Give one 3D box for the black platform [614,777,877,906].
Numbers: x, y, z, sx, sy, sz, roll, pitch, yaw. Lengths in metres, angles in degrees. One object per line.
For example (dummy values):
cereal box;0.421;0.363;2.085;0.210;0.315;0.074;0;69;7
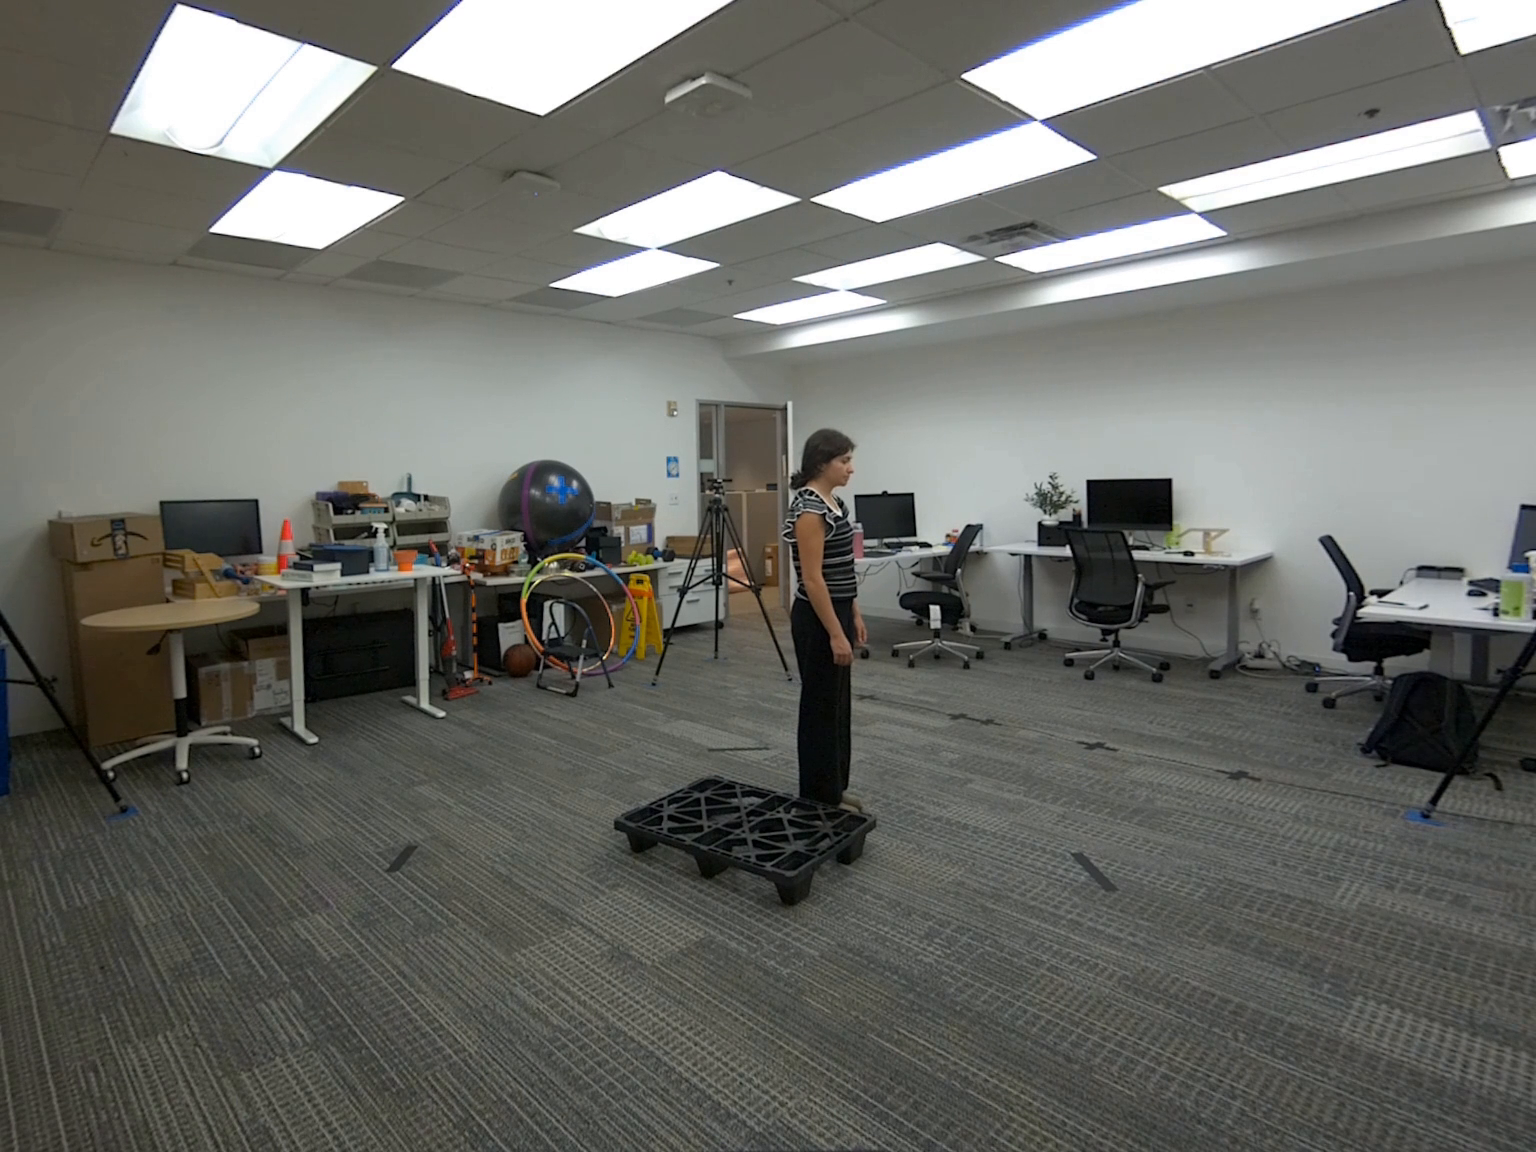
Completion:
black platform;-0.087;0.967;3.194;0.829;0.143;0.590;4;7;36
